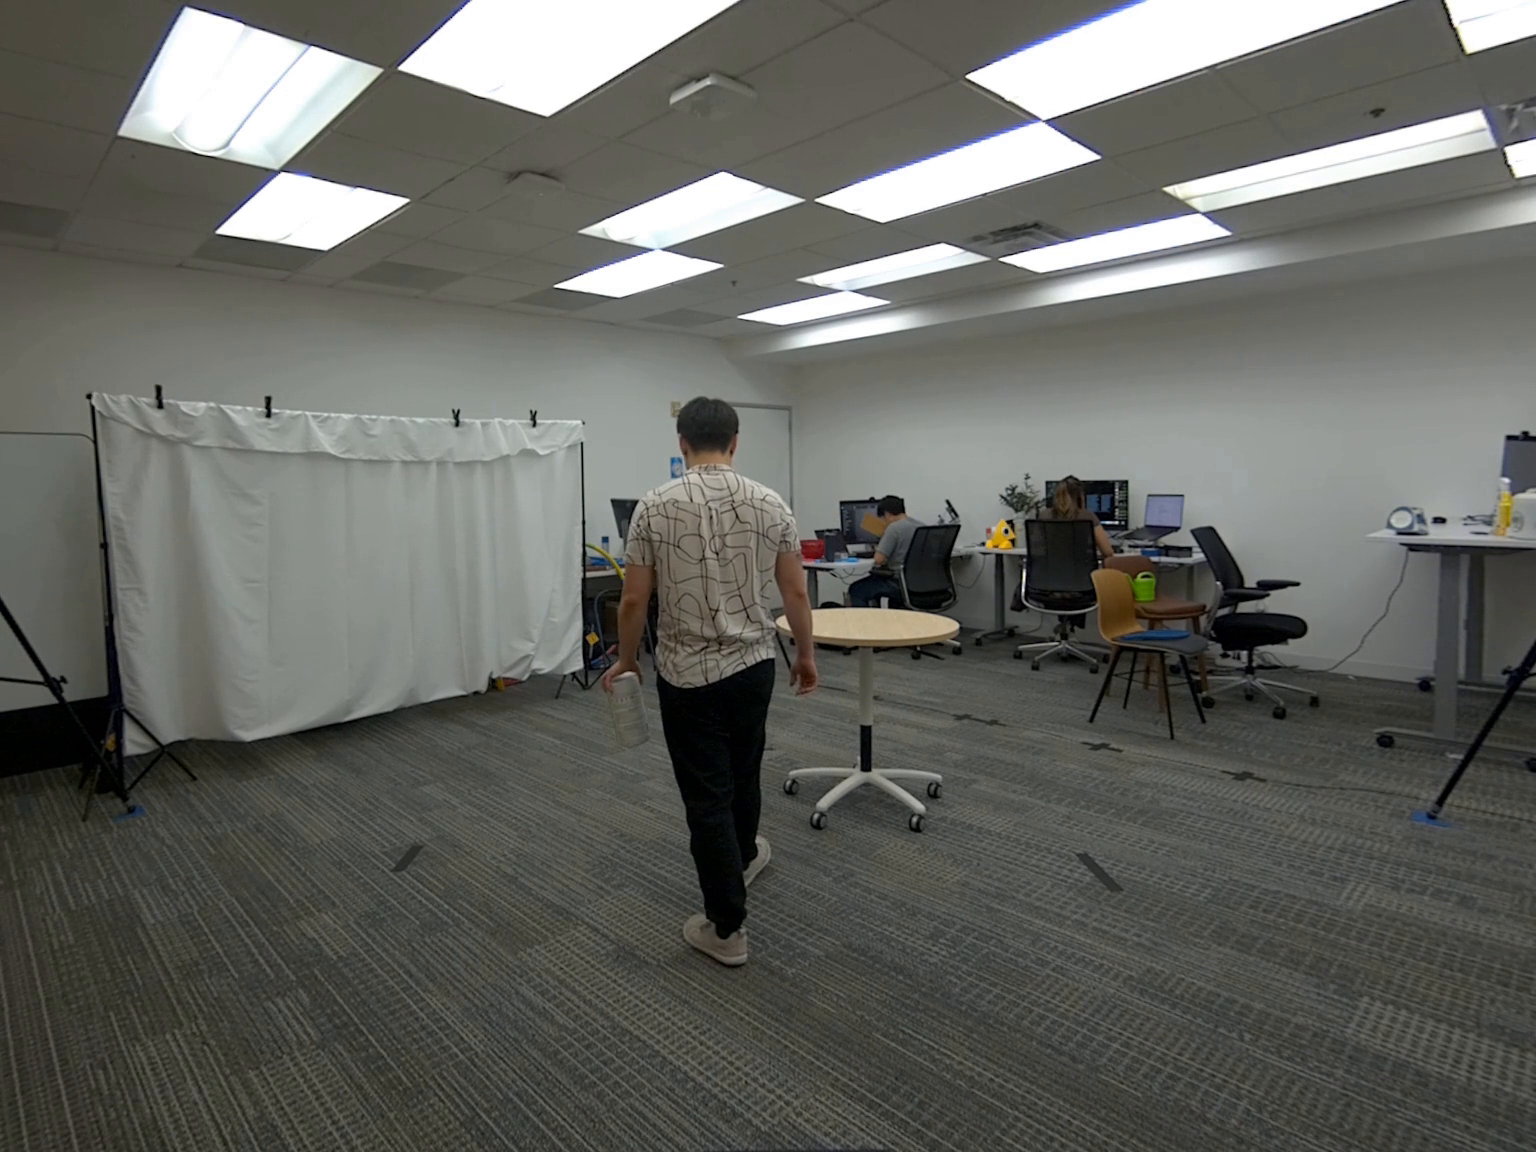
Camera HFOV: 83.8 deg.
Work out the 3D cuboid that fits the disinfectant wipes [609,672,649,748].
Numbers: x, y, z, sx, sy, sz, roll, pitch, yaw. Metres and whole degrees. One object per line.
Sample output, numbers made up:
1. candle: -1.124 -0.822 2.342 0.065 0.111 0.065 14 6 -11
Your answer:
1. disinfectant wipes: -0.439 0.423 2.727 0.118 0.216 0.118 -10 7 0
